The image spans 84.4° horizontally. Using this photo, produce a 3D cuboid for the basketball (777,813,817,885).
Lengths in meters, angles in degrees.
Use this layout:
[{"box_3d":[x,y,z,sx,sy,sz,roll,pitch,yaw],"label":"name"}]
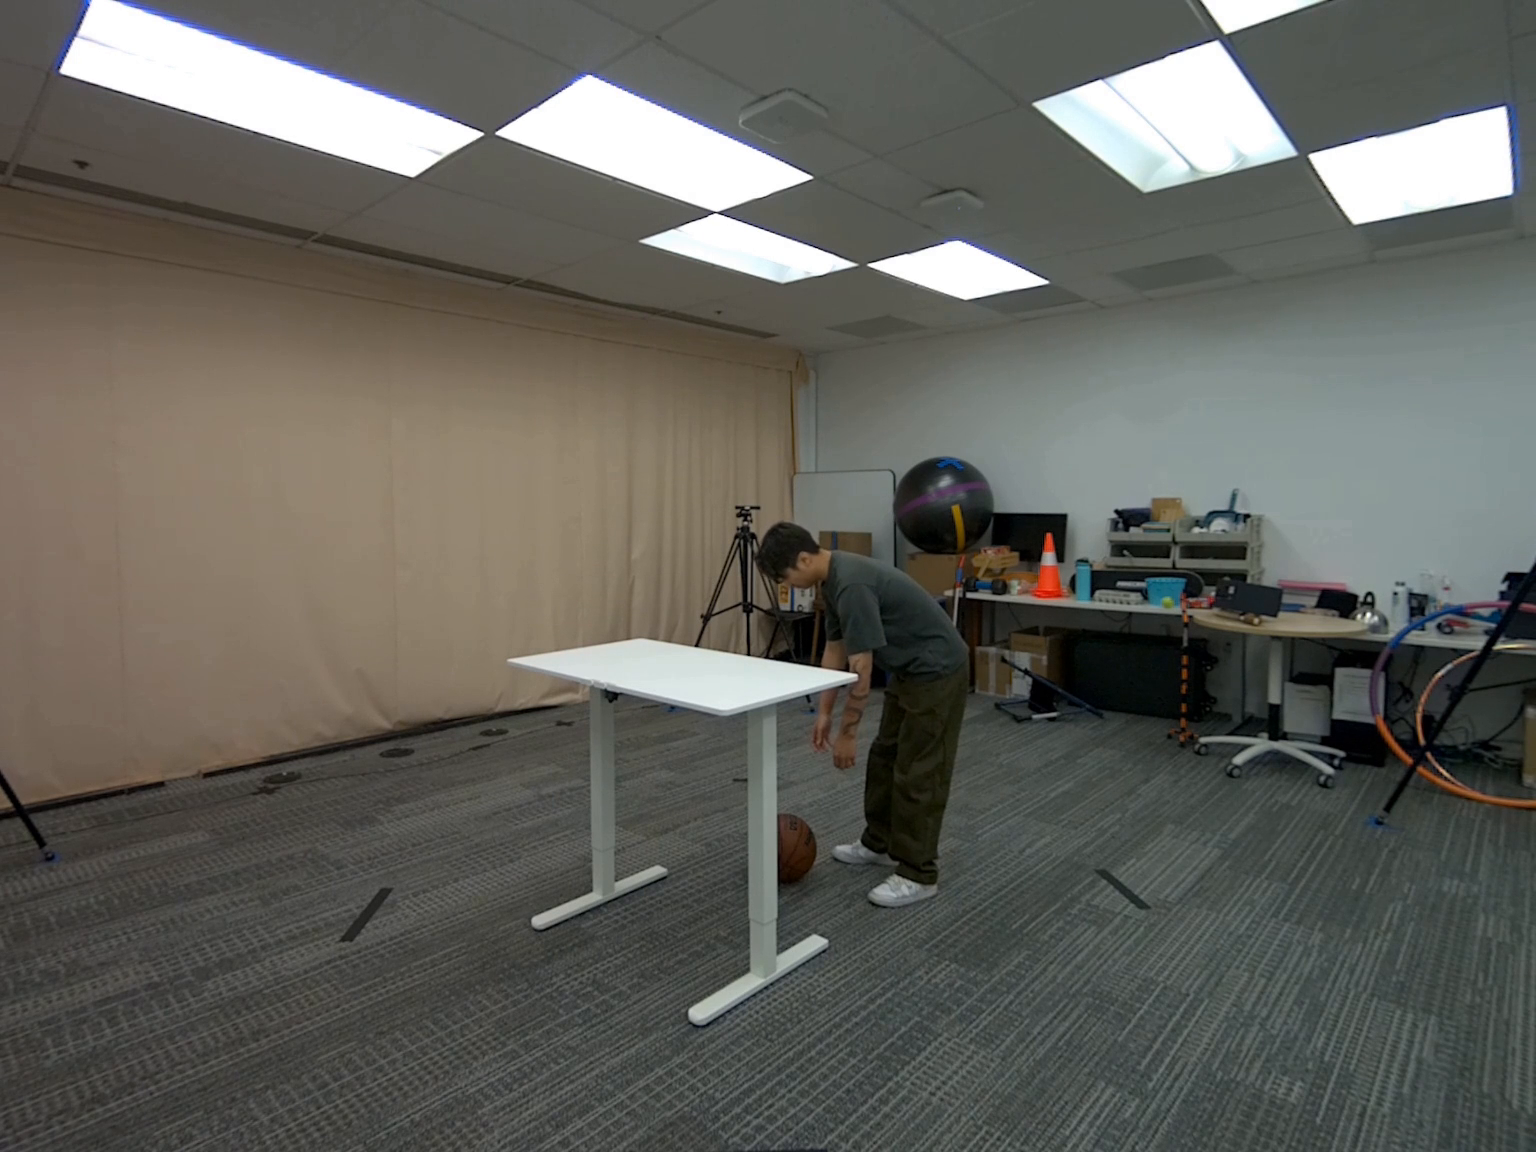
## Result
[{"box_3d":[0.067,1.011,3.141,0.236,0.235,0.237,0,4,-2],"label":"basketball"}]
